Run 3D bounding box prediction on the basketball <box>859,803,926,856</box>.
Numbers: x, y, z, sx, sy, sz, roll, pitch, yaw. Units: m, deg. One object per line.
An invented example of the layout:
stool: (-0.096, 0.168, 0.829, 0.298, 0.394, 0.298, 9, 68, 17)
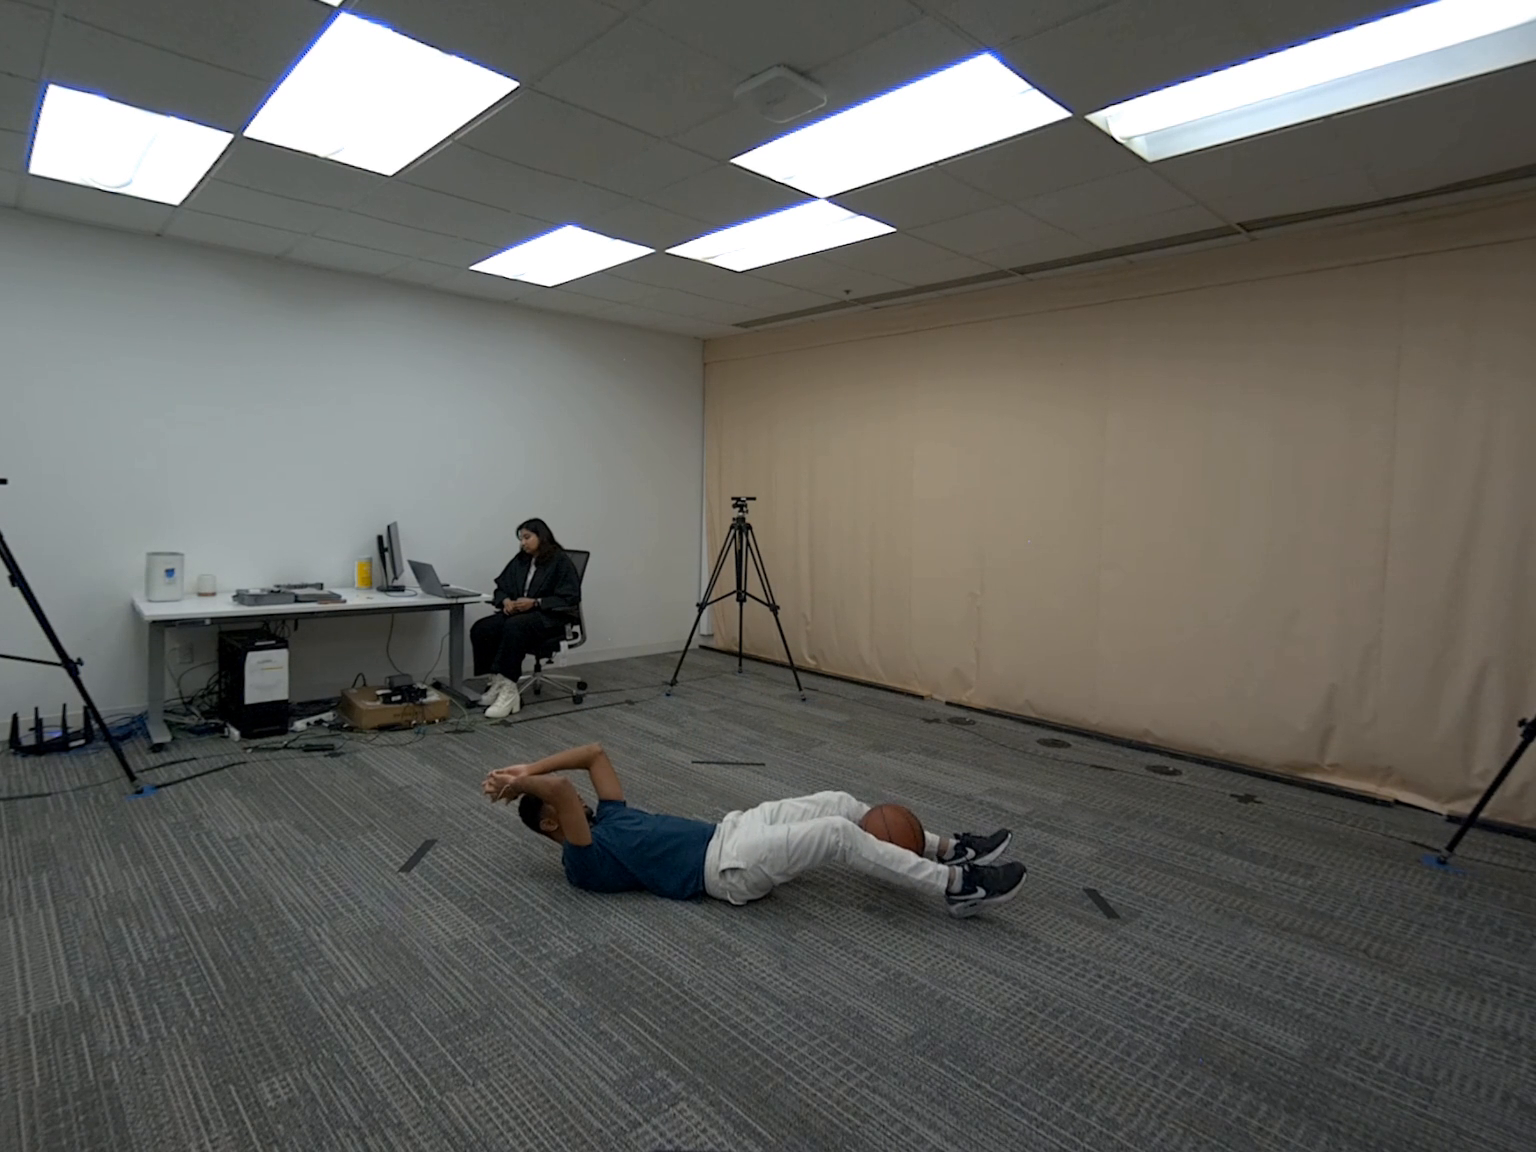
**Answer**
basketball: (0.430, 0.918, 2.955, 0.236, 0.235, 0.237, 1, 4, -1)
